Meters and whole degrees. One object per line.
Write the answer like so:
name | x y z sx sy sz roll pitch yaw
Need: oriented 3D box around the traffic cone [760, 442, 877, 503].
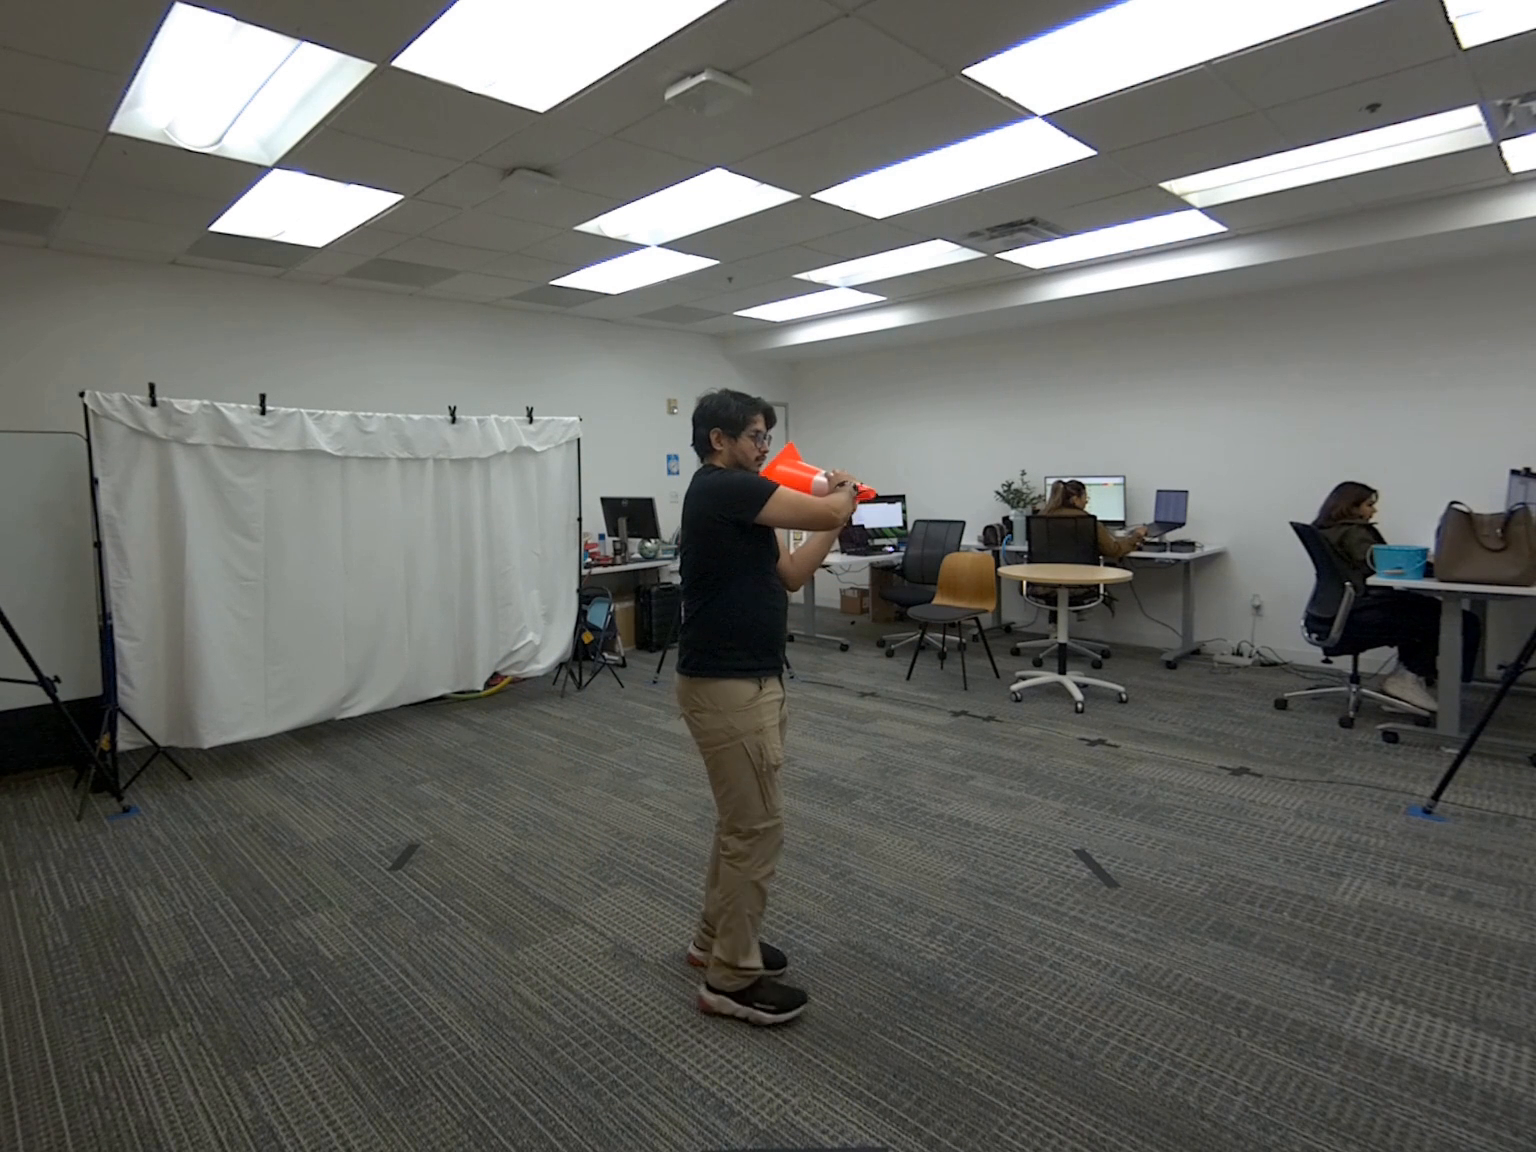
traffic cone | 0.206 -0.267 2.683 0.397 0.196 0.205 14 53 47
